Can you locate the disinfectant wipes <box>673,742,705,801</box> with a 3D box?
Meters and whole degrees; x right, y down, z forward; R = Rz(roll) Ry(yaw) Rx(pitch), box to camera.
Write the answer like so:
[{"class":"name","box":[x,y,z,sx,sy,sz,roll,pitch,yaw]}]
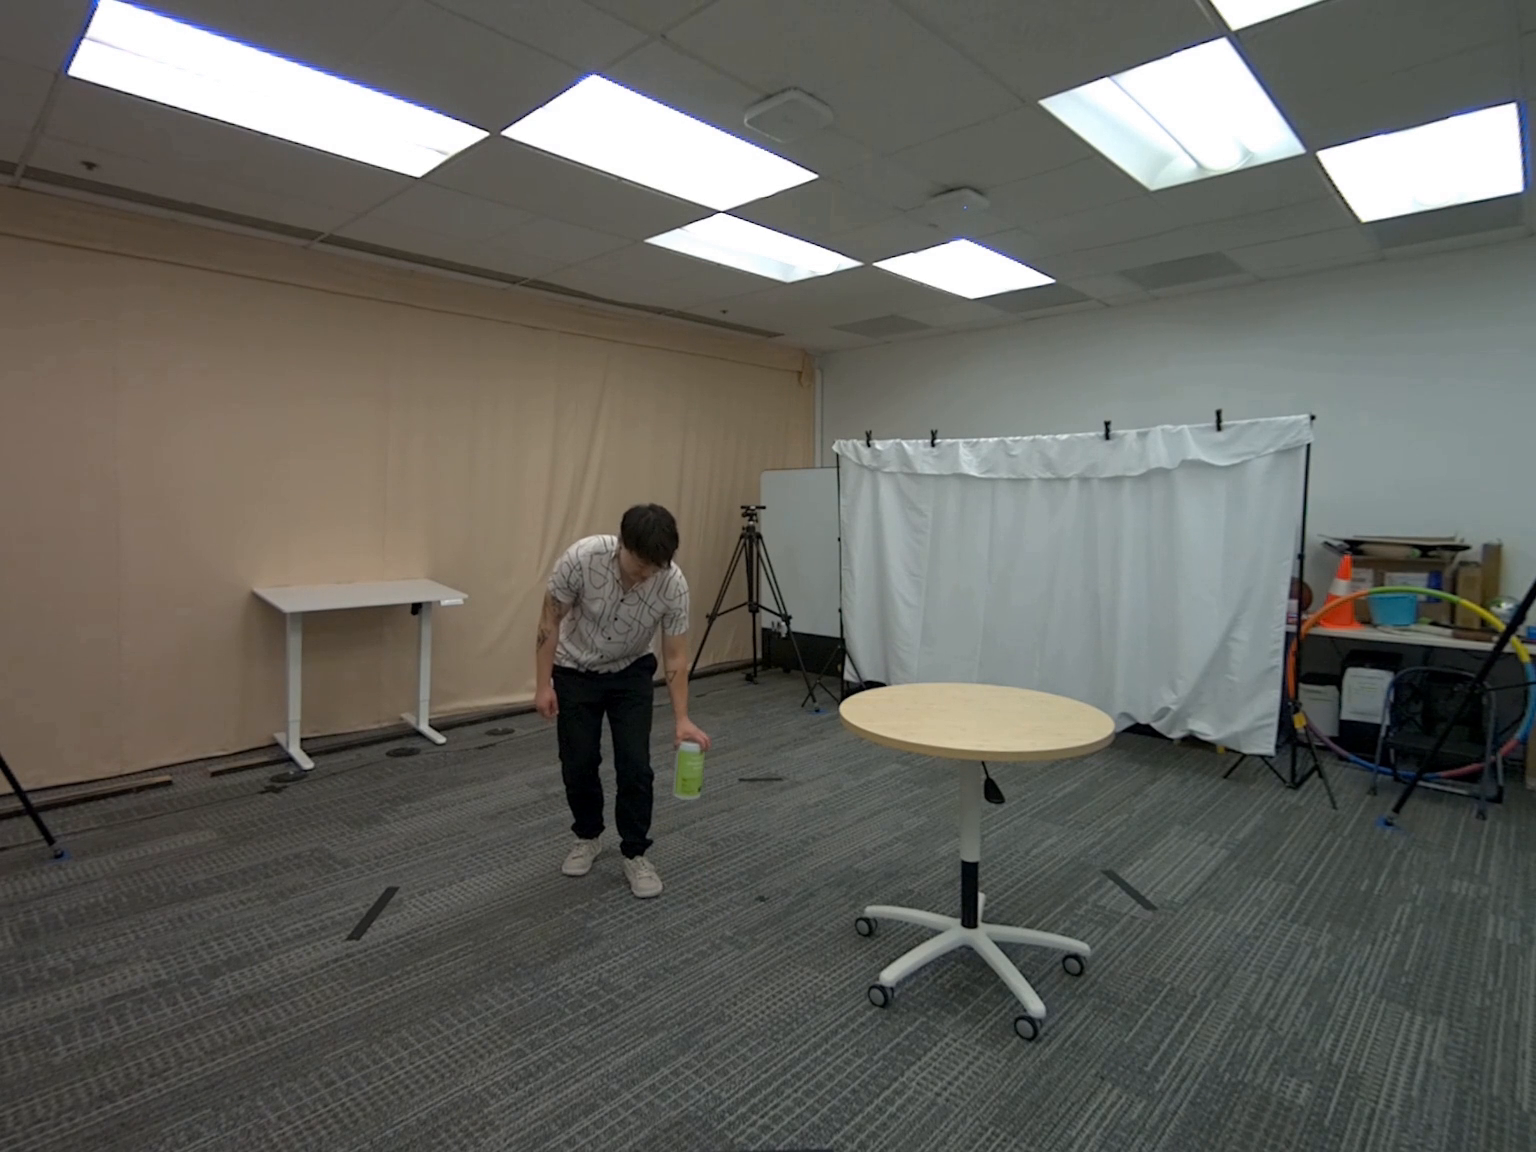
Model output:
[{"class":"disinfectant wipes","box":[-0.301,0.718,3.114,0.117,0.216,0.118,5,8,-3]}]
